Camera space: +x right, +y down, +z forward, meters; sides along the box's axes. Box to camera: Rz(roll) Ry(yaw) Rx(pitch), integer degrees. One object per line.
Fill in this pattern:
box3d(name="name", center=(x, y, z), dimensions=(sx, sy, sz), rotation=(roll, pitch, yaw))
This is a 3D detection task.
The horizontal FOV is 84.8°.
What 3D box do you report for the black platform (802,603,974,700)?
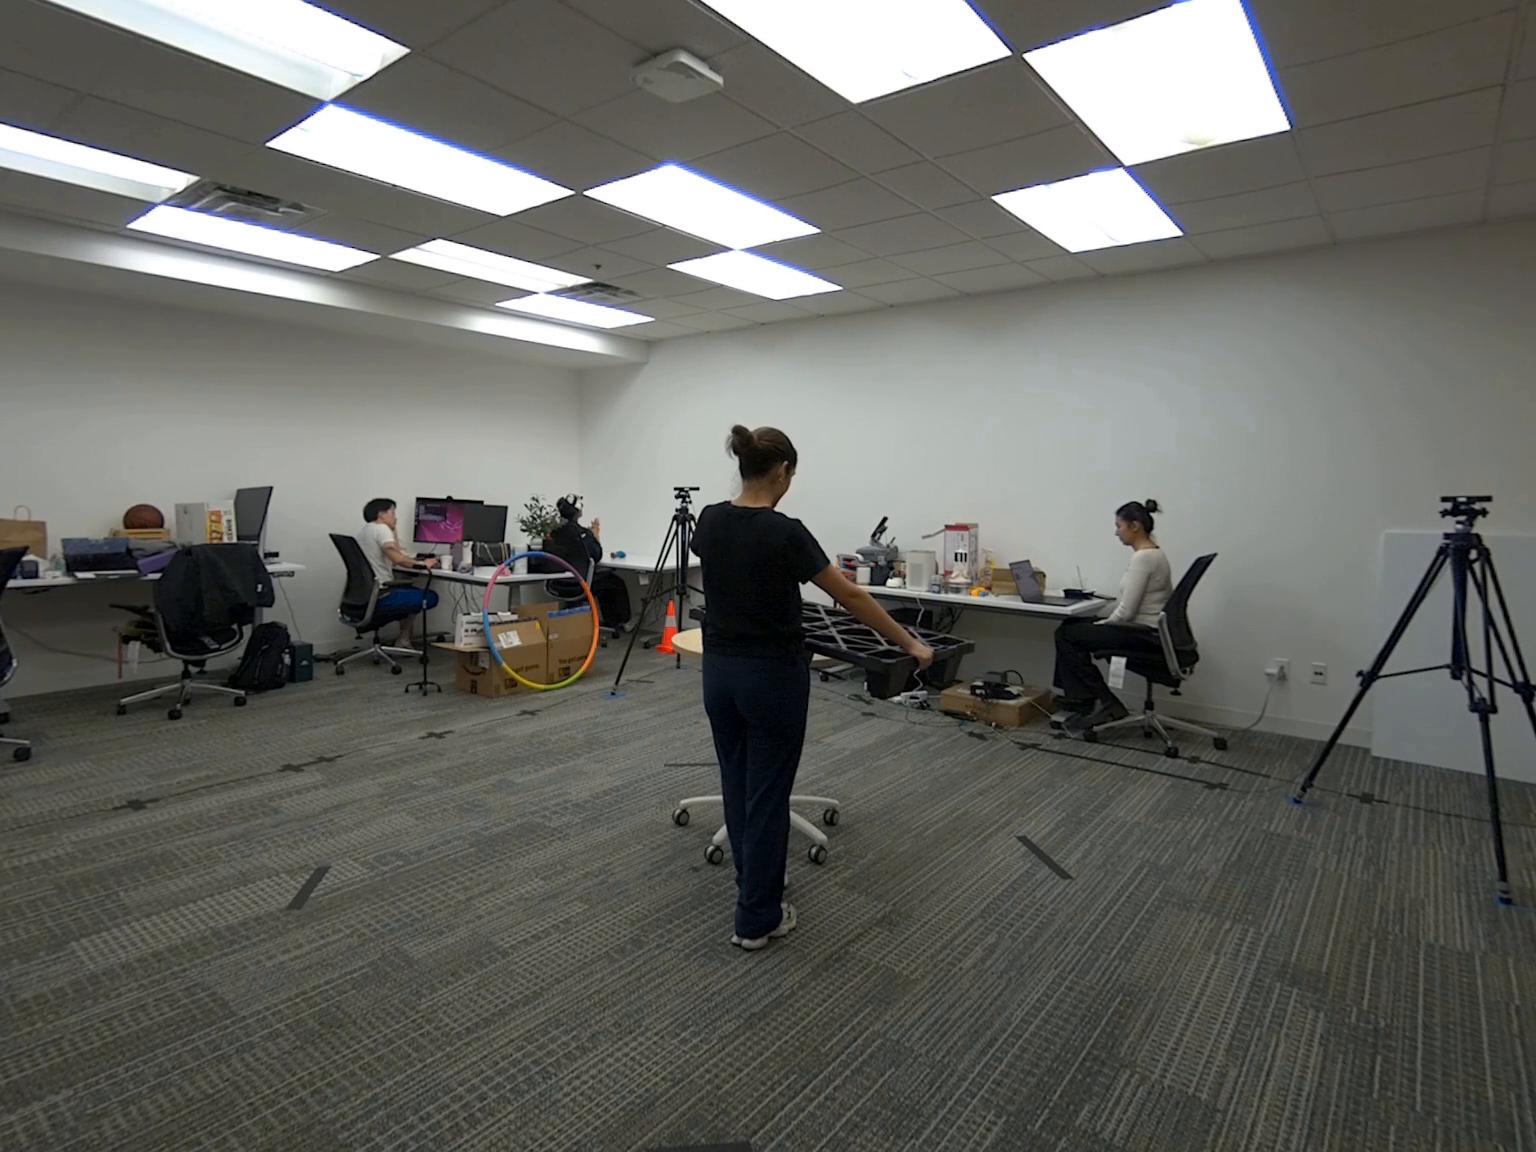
box3d(name="black platform", center=(0.229, 0.222, 2.936), dimensions=(0.835, 0.142, 0.587), rotation=(13, 11, 39))
